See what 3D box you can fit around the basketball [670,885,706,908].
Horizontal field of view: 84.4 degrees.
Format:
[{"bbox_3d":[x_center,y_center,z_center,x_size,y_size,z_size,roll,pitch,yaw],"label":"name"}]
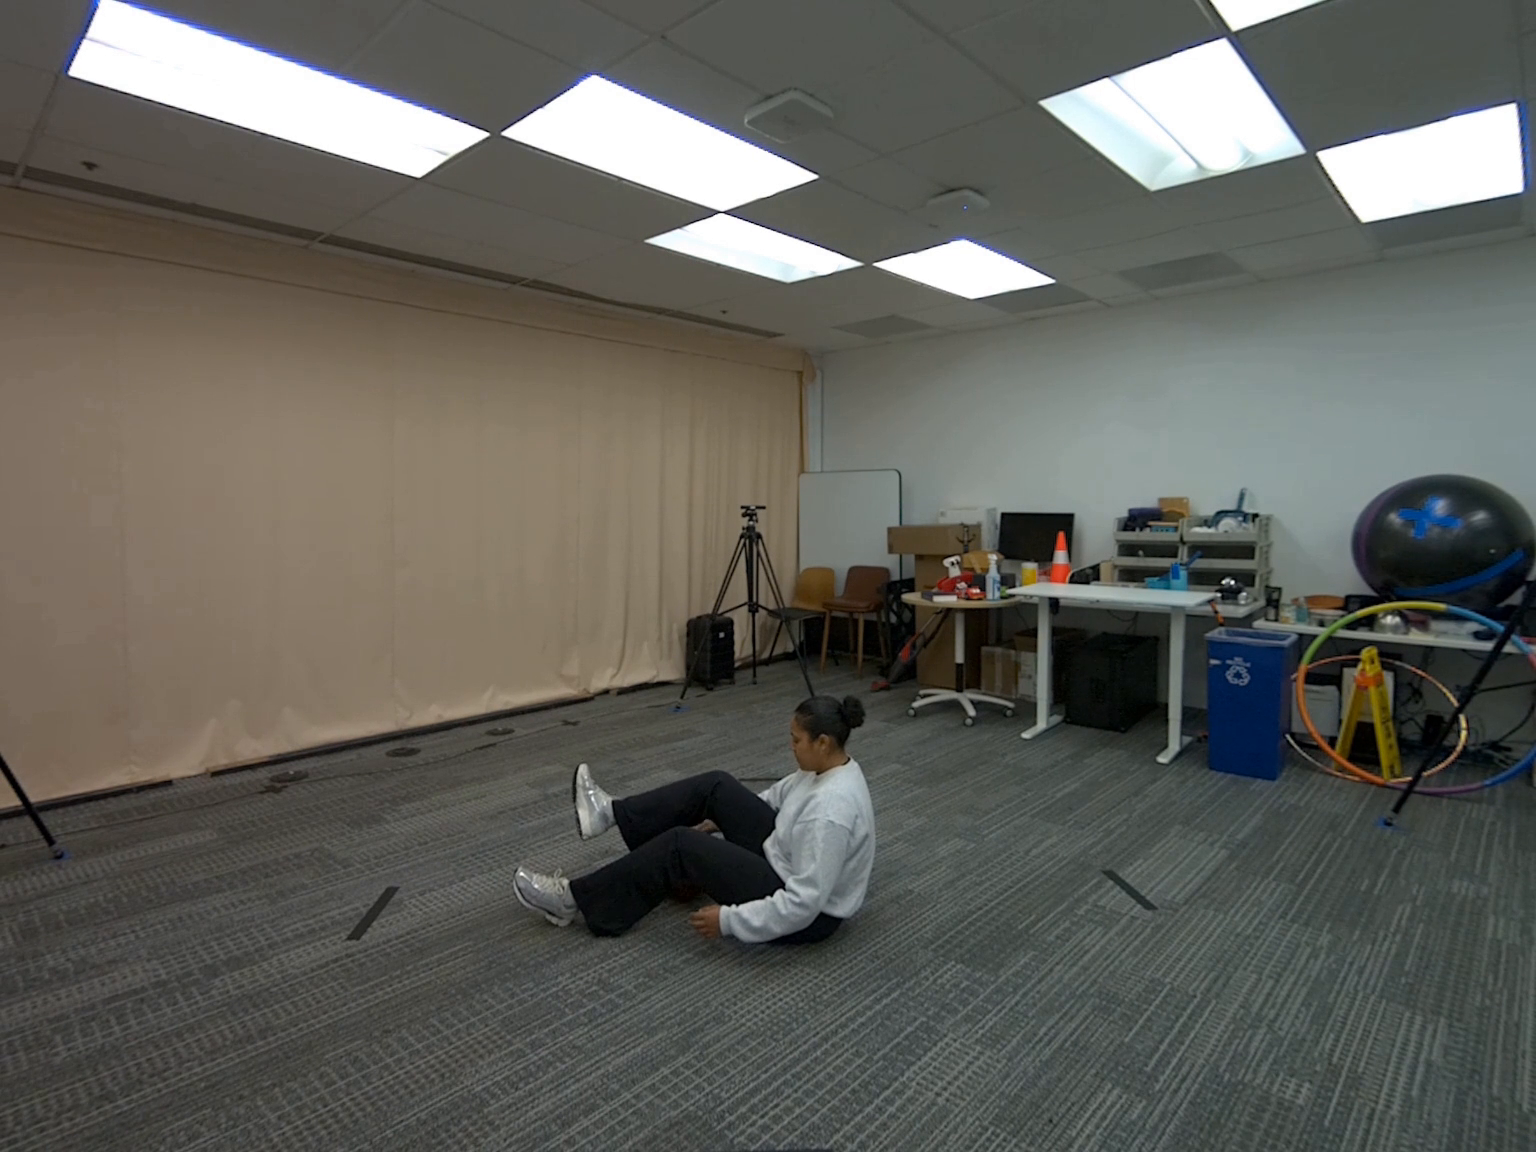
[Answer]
[{"bbox_3d":[-0.299,1.028,3.015,0.236,0.235,0.237,0,4,-2],"label":"basketball"}]
